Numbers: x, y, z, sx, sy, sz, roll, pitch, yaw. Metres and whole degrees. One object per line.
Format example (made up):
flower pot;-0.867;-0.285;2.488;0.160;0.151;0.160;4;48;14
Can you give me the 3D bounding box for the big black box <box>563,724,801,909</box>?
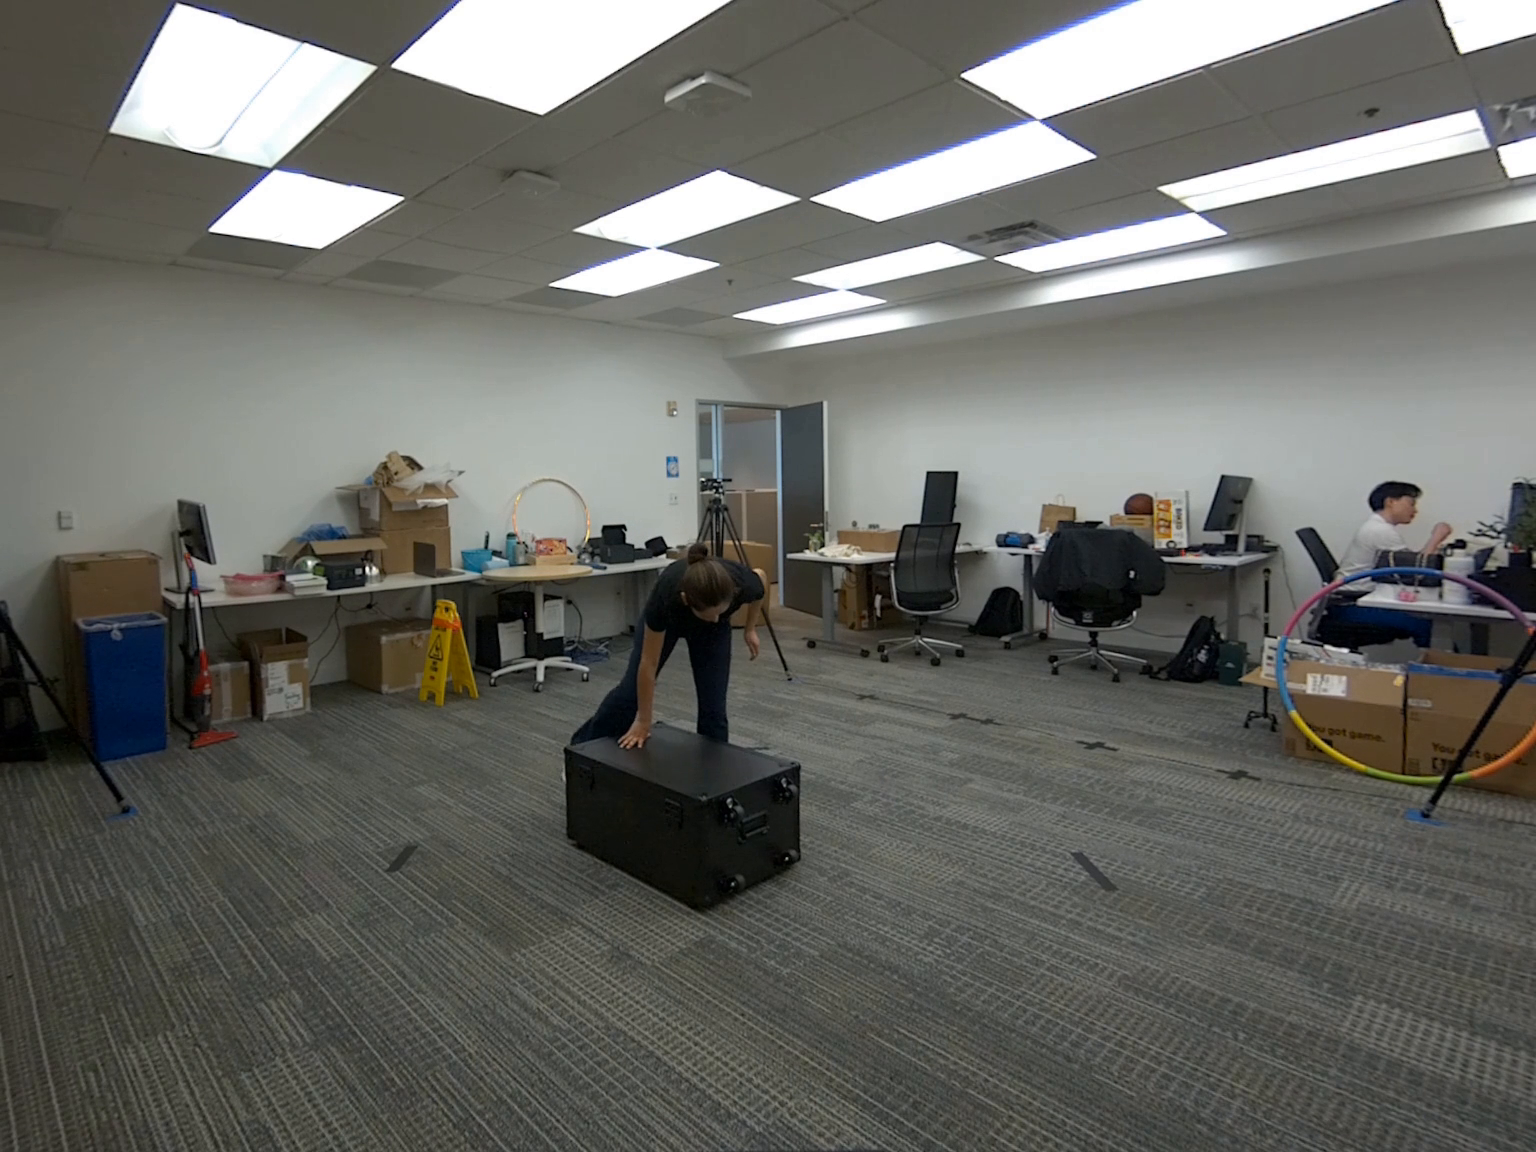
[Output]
big black box;-0.304;0.838;3.159;0.888;0.395;0.507;5;8;43
